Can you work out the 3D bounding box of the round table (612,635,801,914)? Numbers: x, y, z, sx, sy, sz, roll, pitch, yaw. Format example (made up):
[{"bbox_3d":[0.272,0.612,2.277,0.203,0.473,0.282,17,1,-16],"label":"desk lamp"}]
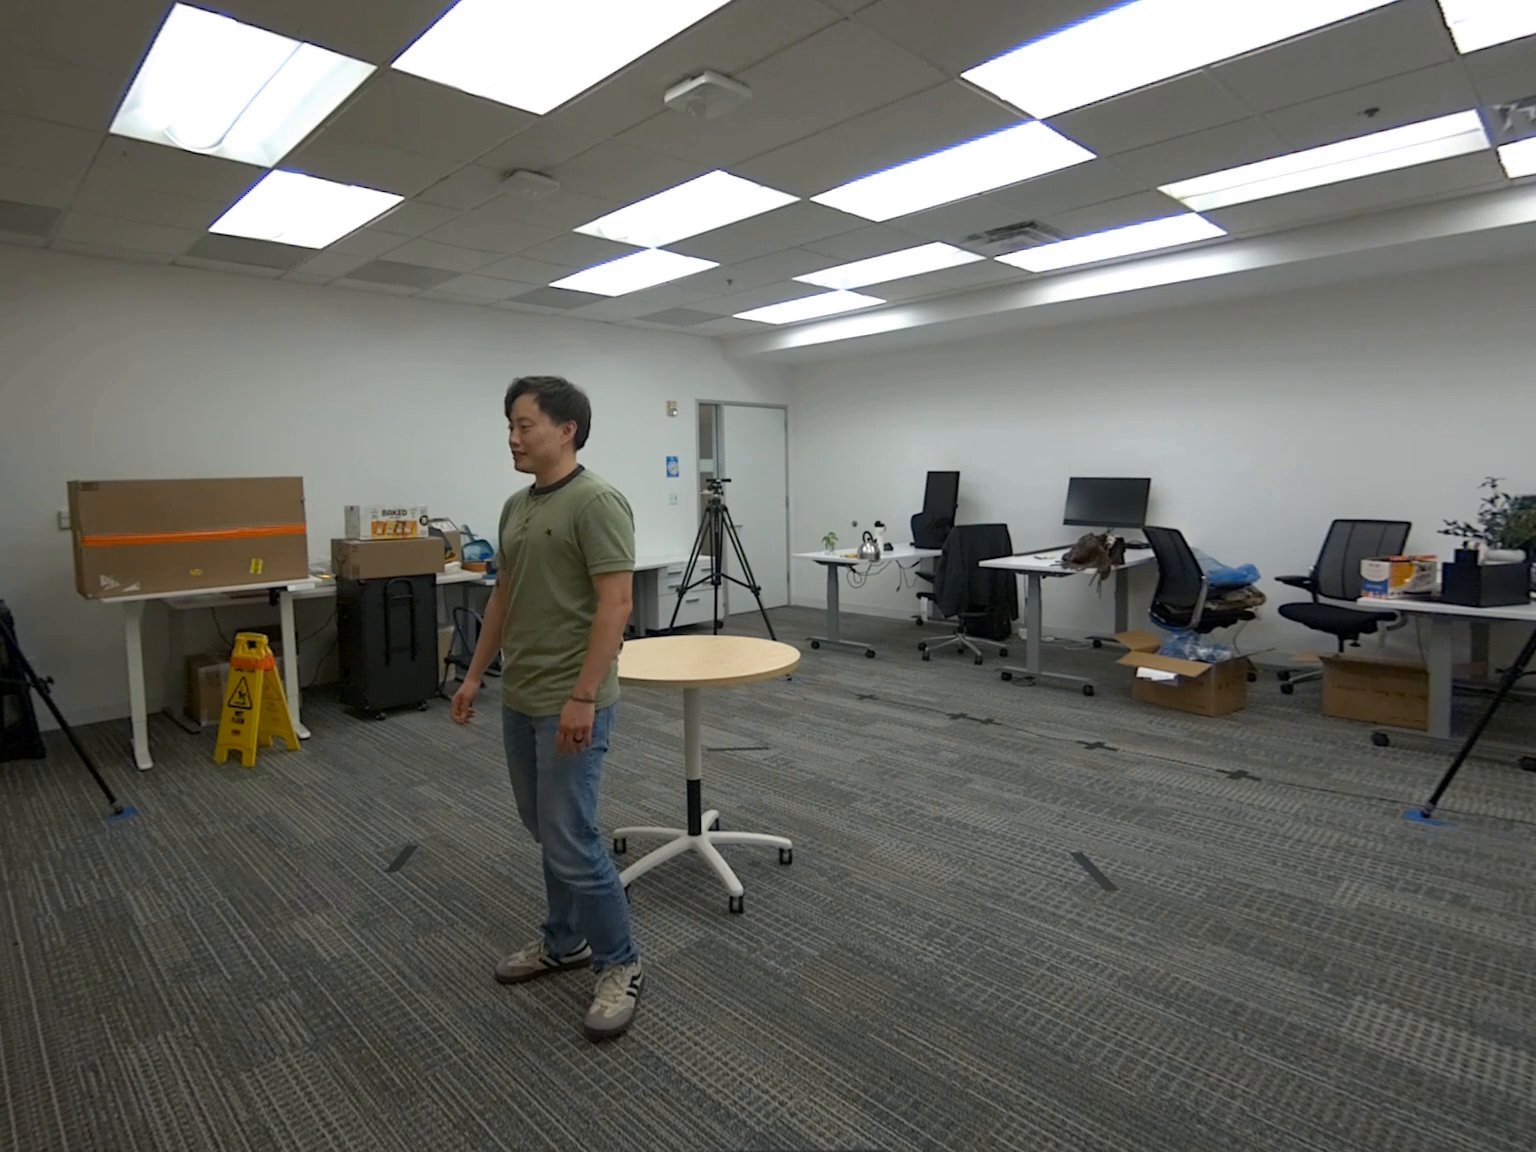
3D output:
[{"bbox_3d":[-0.261,0.669,3.021,0.763,0.791,0.768,-1,5,-2],"label":"round table"}]
